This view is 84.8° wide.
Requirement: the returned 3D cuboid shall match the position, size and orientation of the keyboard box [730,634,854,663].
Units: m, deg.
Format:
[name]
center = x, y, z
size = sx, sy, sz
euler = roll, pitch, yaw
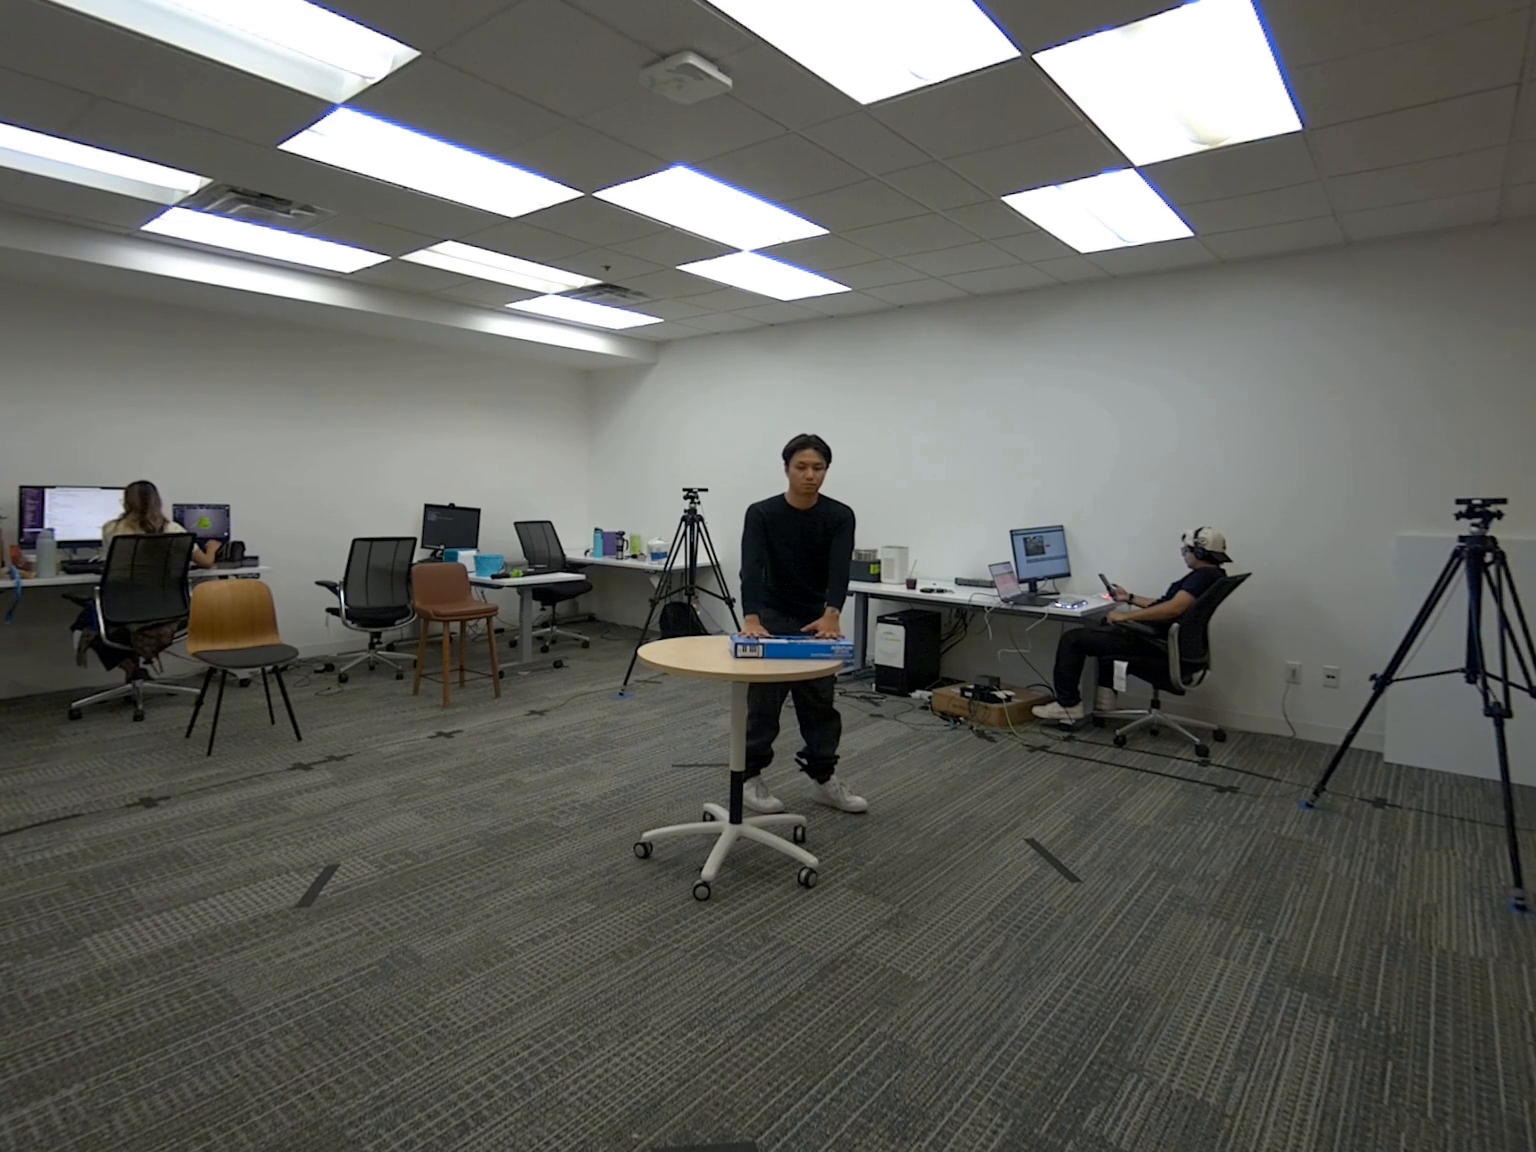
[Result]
[keyboard box]
center = 0.073, 0.258, 3.167
size = 0.434, 0.059, 0.177
euler = 0, 5, -5
